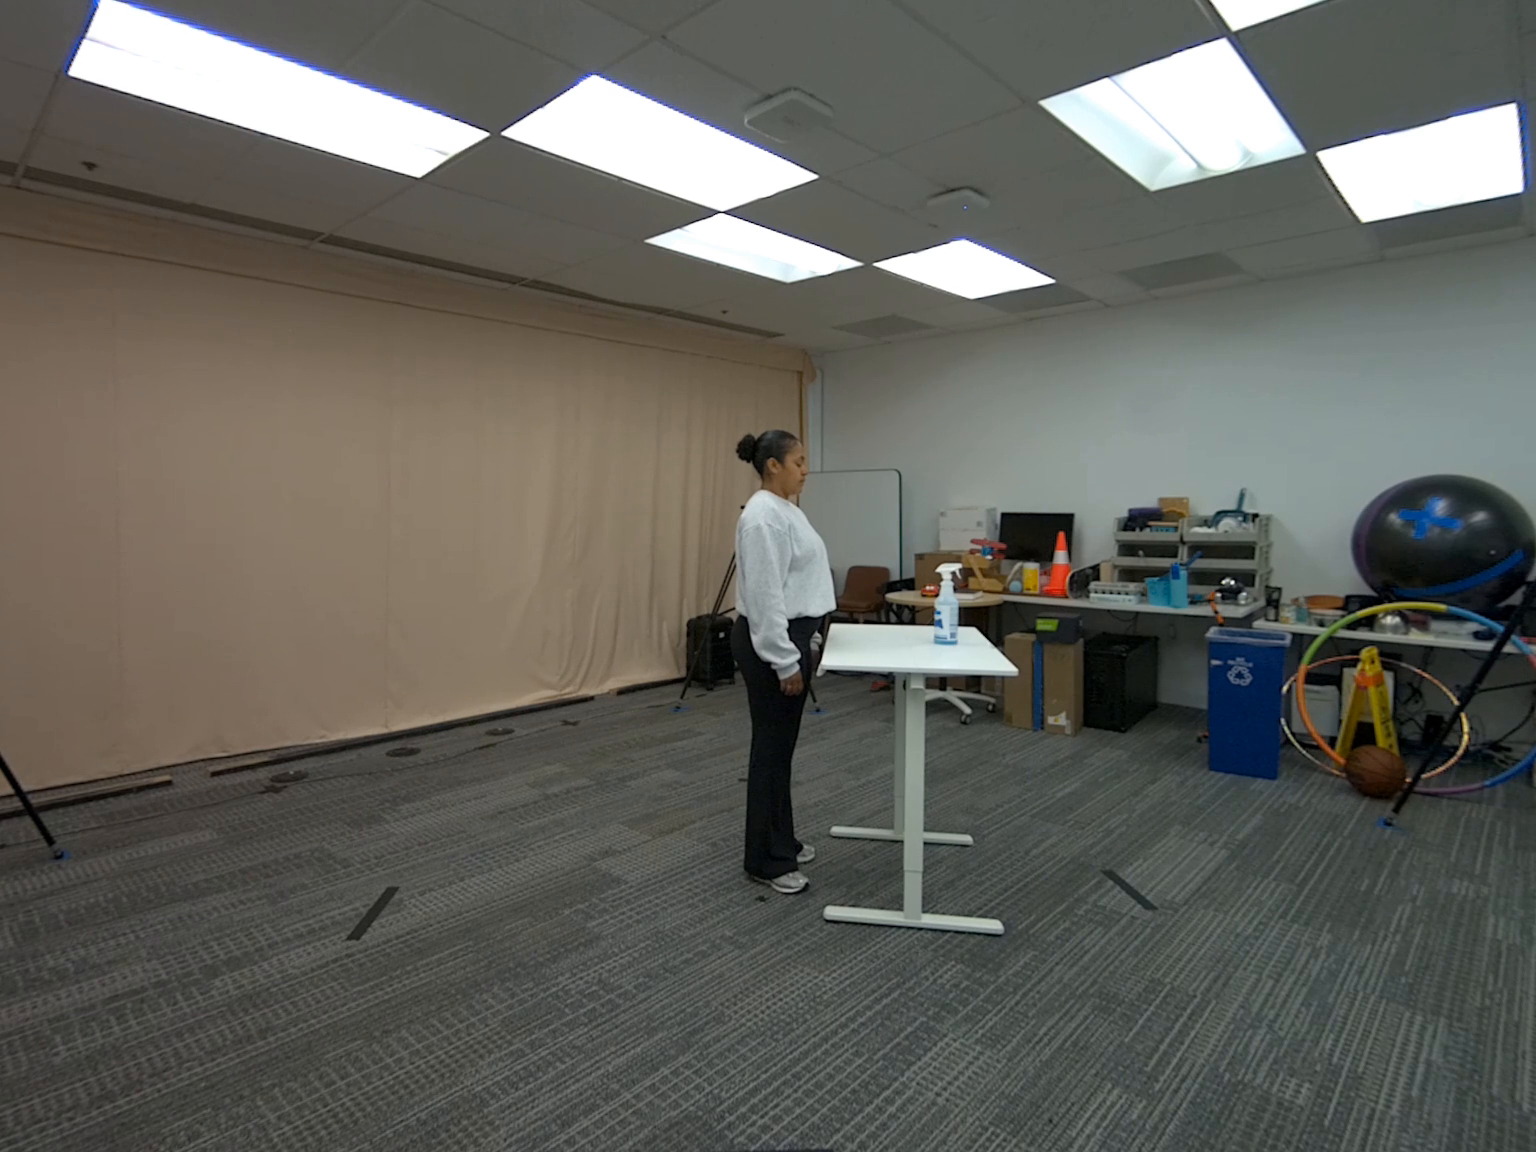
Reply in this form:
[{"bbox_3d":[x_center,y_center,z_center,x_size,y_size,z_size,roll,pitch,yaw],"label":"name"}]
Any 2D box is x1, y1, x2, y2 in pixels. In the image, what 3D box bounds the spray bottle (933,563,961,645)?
[{"bbox_3d":[0.669,0.106,3.102,0.093,0.296,0.084,6,5,37],"label":"spray bottle"}]
